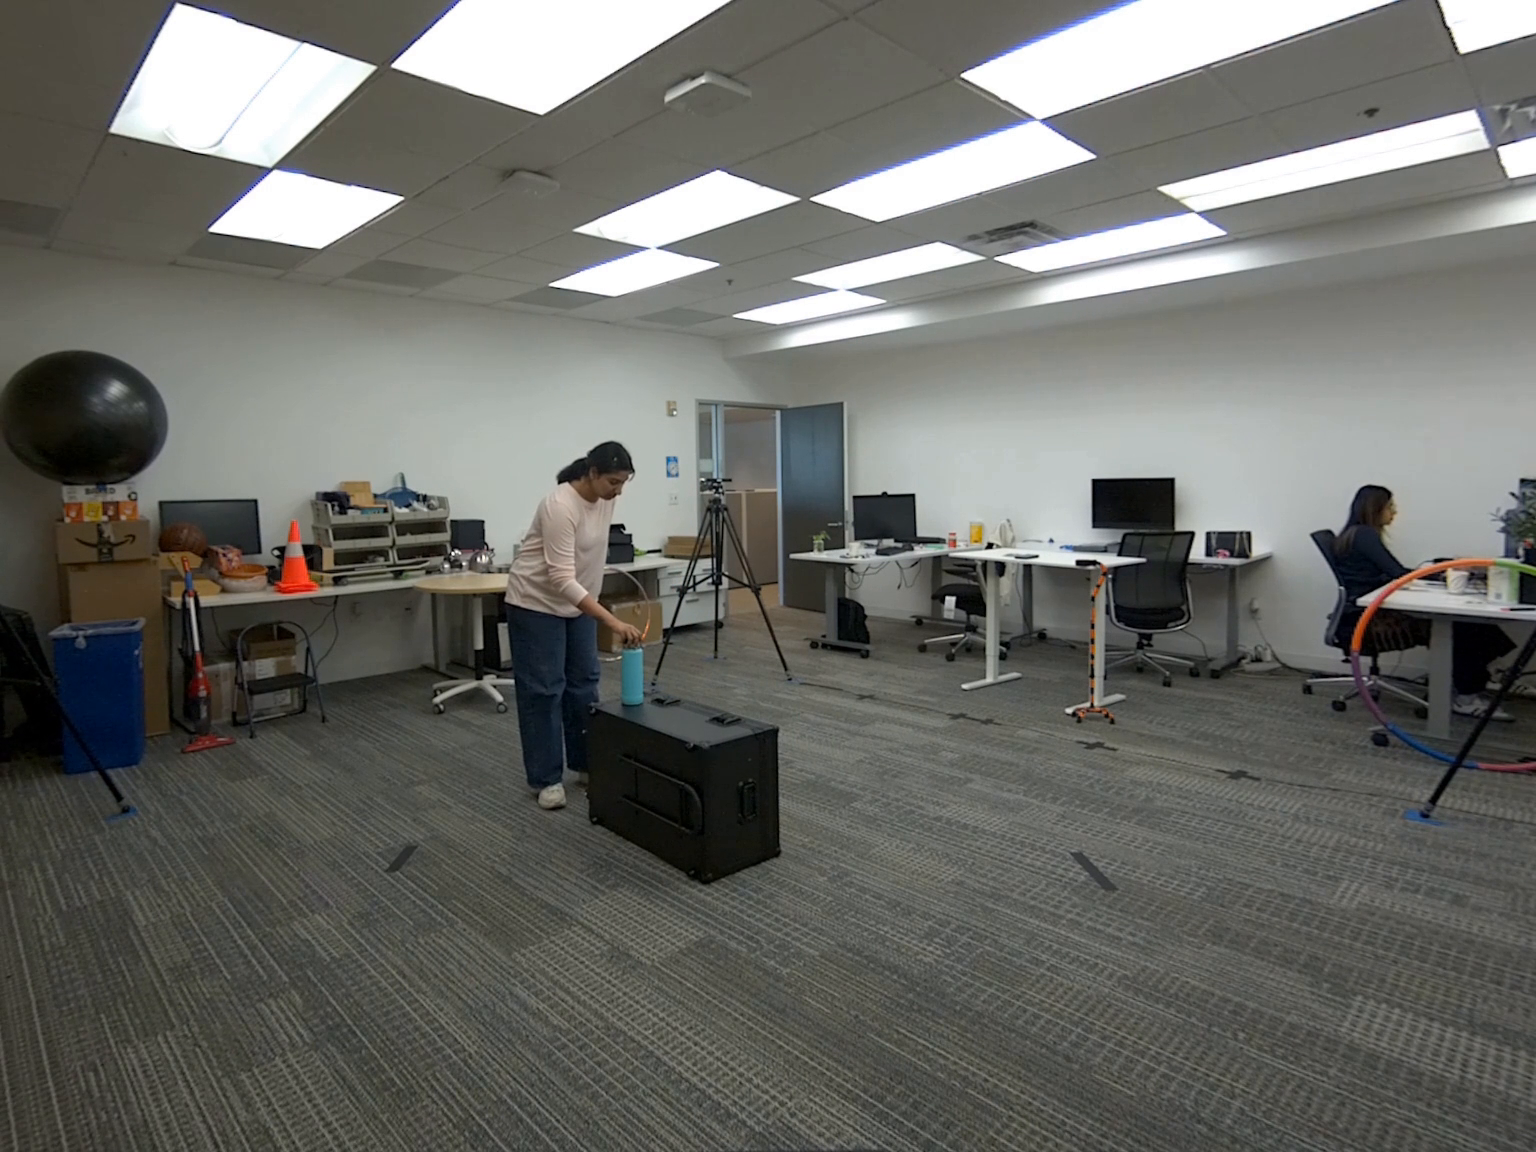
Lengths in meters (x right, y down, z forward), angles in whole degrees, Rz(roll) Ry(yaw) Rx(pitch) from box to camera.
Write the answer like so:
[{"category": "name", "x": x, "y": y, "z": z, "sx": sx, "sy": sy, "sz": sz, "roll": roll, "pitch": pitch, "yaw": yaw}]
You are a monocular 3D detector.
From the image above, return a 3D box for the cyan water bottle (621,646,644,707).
[{"category": "cyan water bottle", "x": -0.565, "y": 0.384, "z": 3.533, "sx": 0.092, "sy": 0.283, "sz": 0.092, "roll": -2, "pitch": 1, "yaw": -2}]
